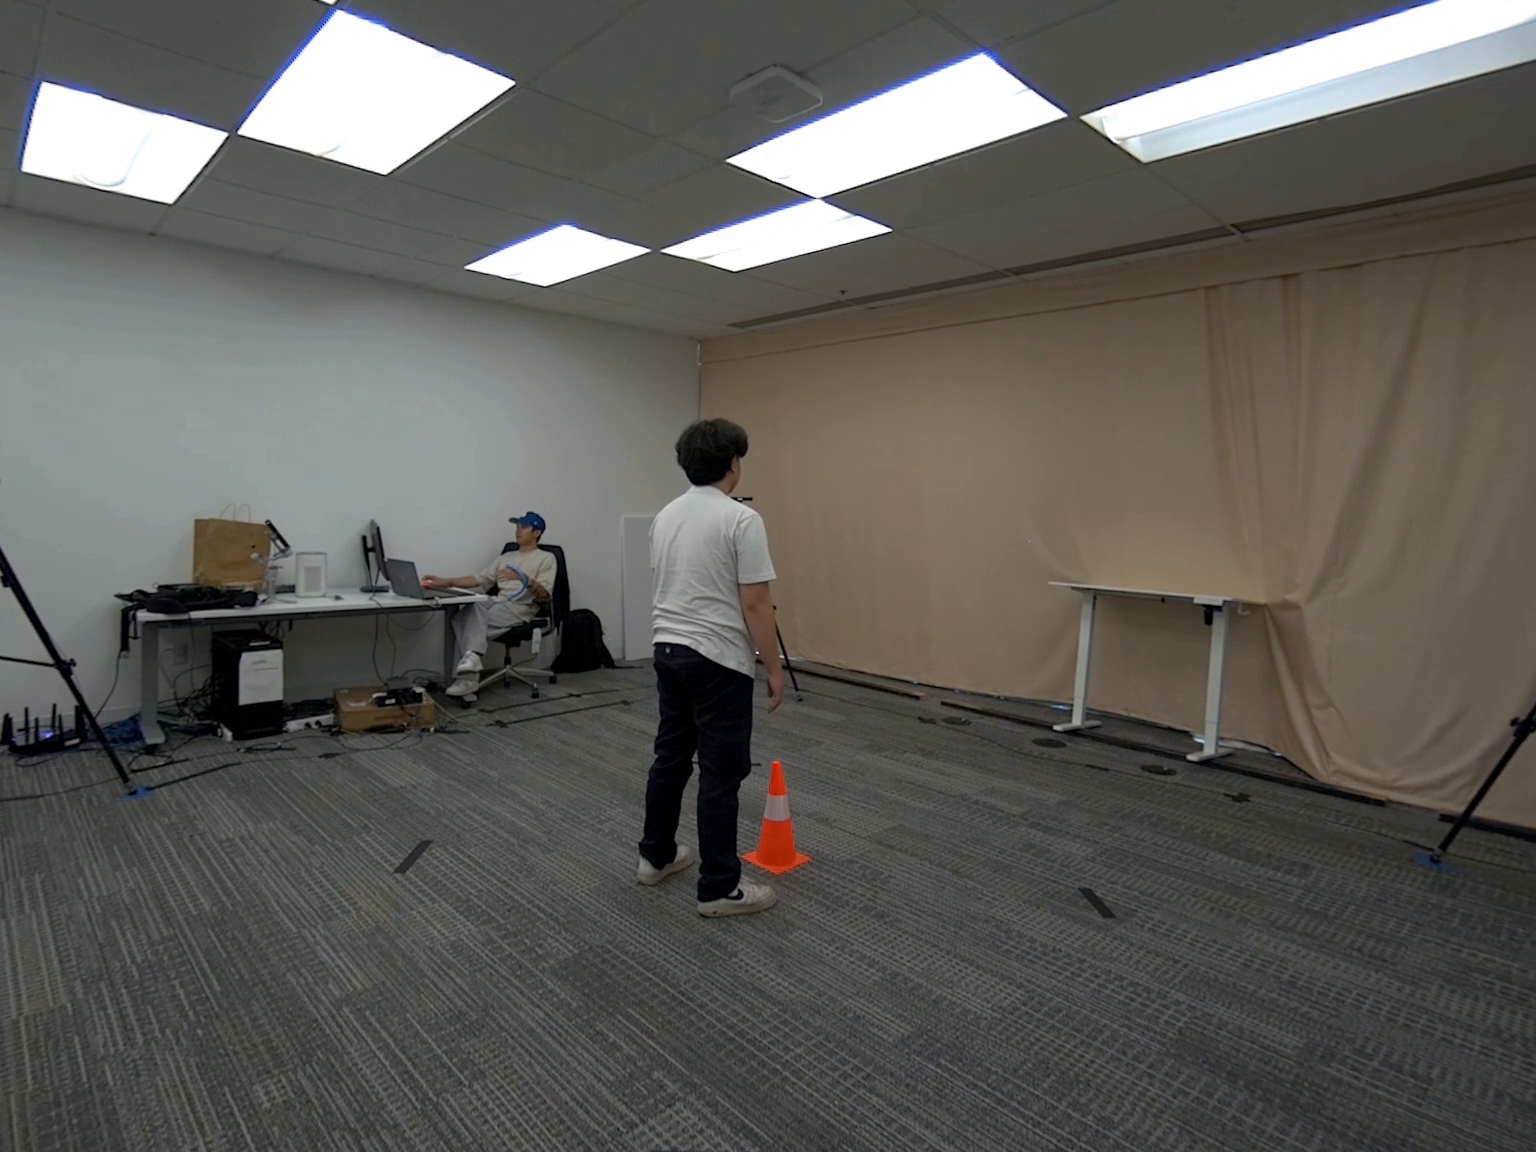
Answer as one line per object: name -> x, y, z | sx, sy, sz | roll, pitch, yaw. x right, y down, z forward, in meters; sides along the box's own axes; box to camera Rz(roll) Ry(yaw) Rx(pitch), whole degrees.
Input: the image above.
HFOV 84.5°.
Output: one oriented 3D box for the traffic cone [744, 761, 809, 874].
traffic cone -> 0.024, 0.914, 3.265 | 0.210, 0.383, 0.199 | 2, 2, 39
